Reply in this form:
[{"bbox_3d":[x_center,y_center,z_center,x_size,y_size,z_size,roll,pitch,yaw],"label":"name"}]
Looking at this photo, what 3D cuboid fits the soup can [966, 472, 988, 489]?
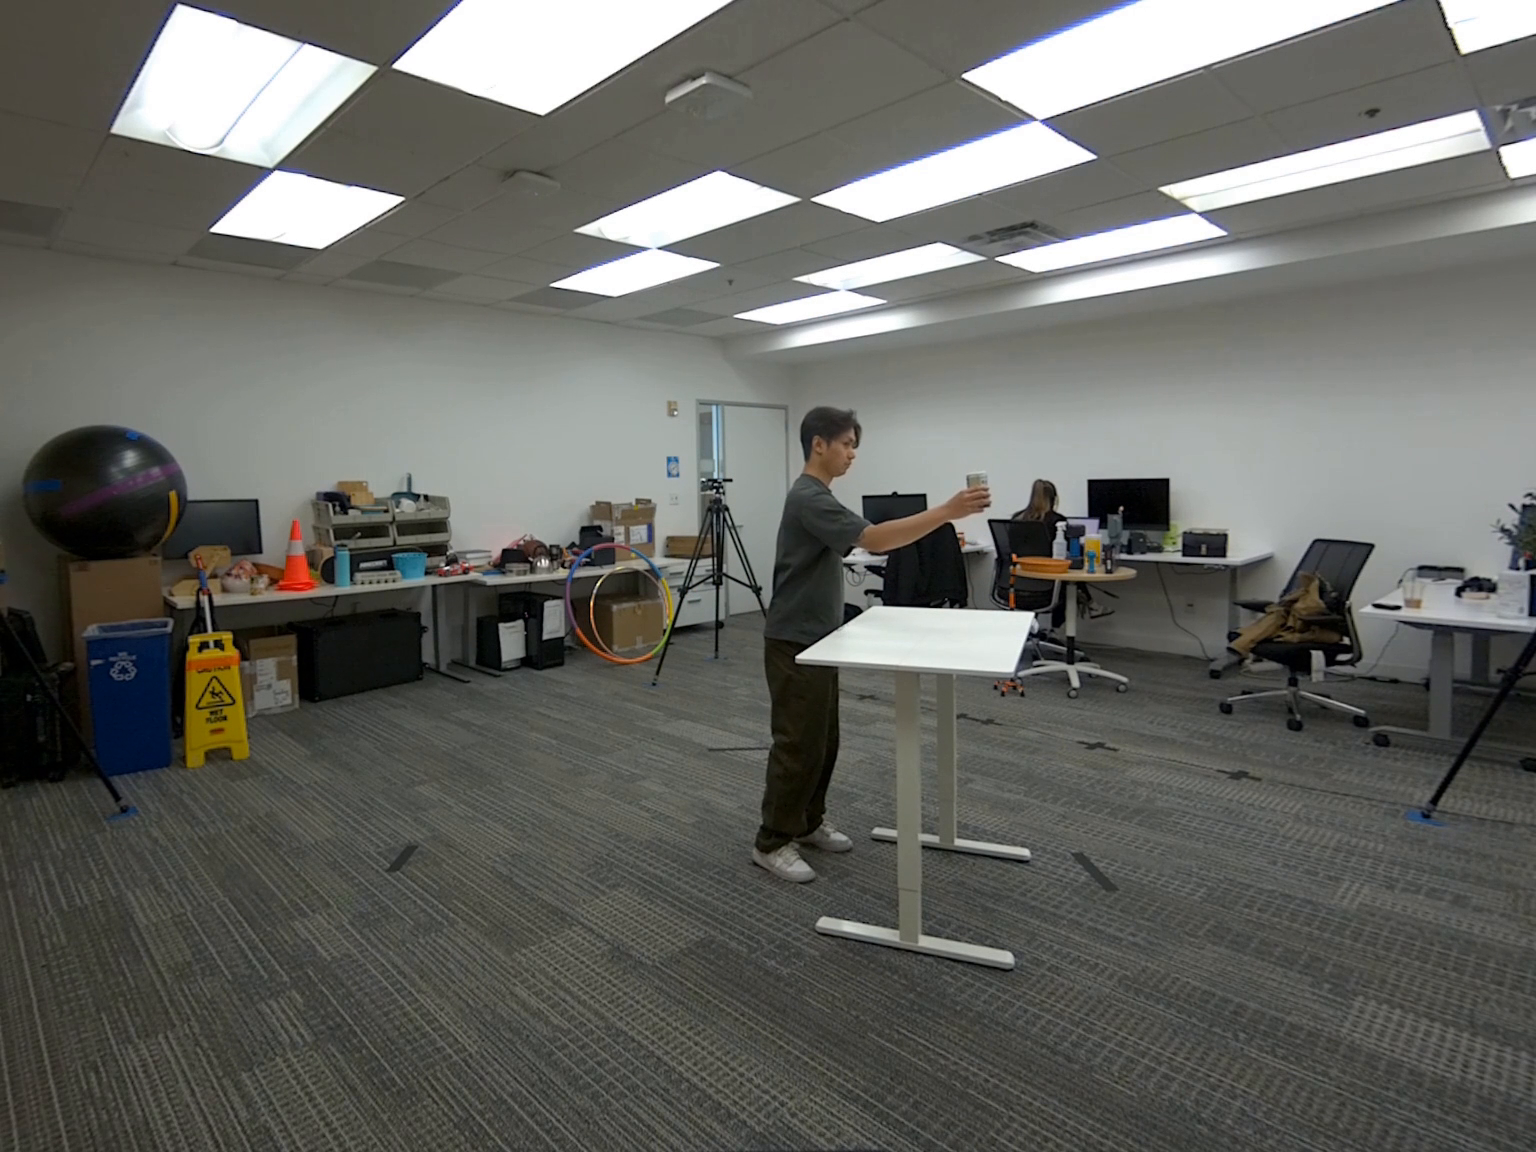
[{"bbox_3d":[0.694,-0.278,2.768,0.067,0.122,0.067,-3,-2,-2],"label":"soup can"}]
